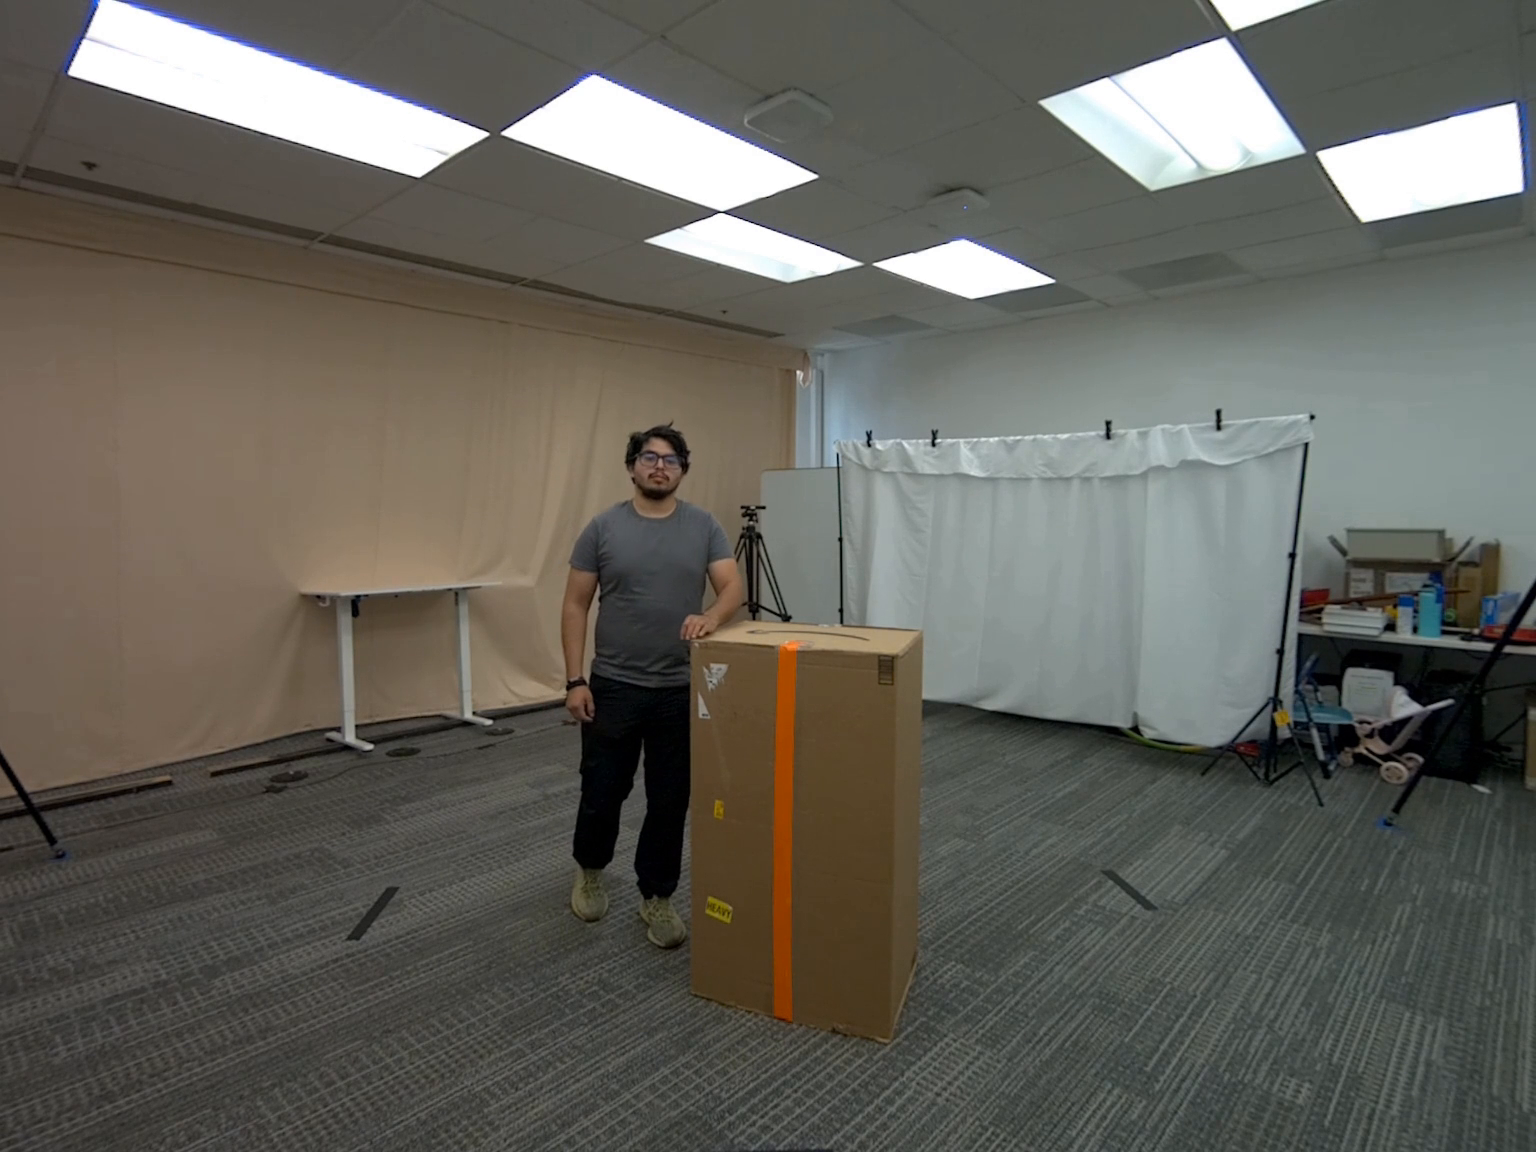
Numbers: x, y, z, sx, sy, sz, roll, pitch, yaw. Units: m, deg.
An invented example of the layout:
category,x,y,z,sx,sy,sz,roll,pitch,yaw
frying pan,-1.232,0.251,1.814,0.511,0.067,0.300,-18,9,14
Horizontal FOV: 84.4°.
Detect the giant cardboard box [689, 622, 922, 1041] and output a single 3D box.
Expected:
category,x,y,z,sx,sy,sz,roll,pitch,yaw
giant cardboard box,0.126,0.679,2.441,0.591,1.024,0.417,2,4,22
